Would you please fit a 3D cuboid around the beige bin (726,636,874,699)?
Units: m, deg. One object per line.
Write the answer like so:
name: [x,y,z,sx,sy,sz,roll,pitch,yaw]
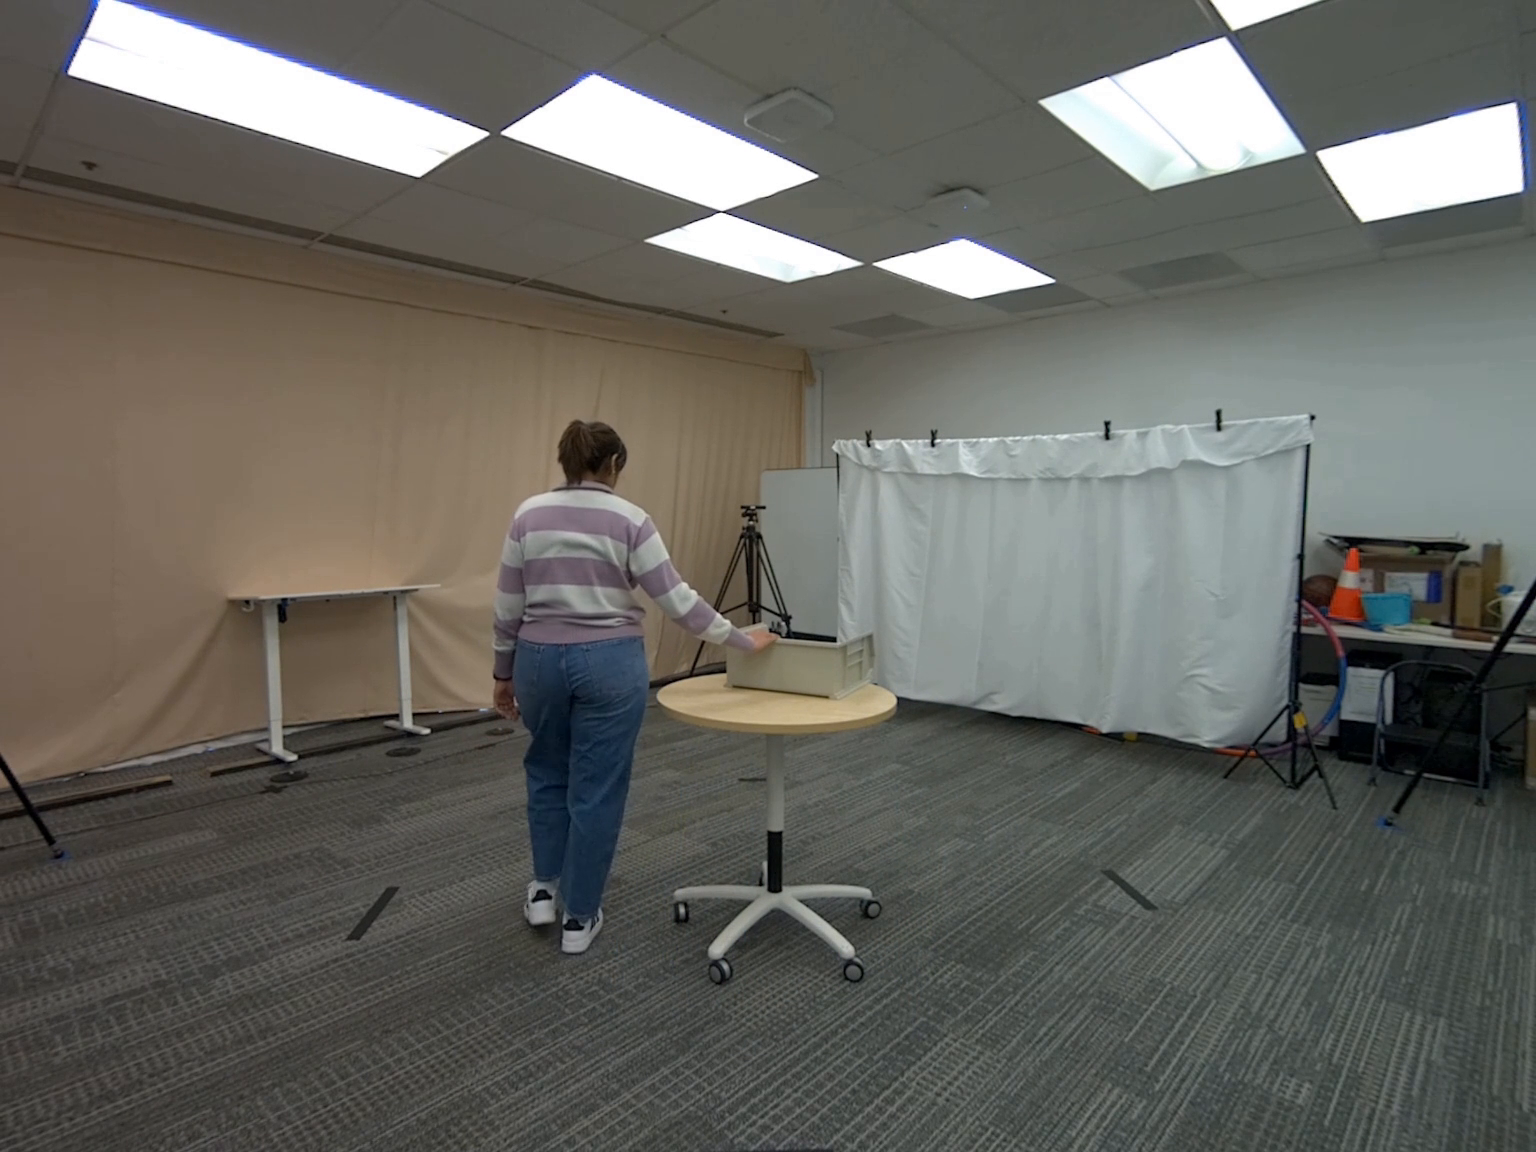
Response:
beige bin: [0.116,0.285,2.883,0.433,0.188,0.369,2,6,24]
